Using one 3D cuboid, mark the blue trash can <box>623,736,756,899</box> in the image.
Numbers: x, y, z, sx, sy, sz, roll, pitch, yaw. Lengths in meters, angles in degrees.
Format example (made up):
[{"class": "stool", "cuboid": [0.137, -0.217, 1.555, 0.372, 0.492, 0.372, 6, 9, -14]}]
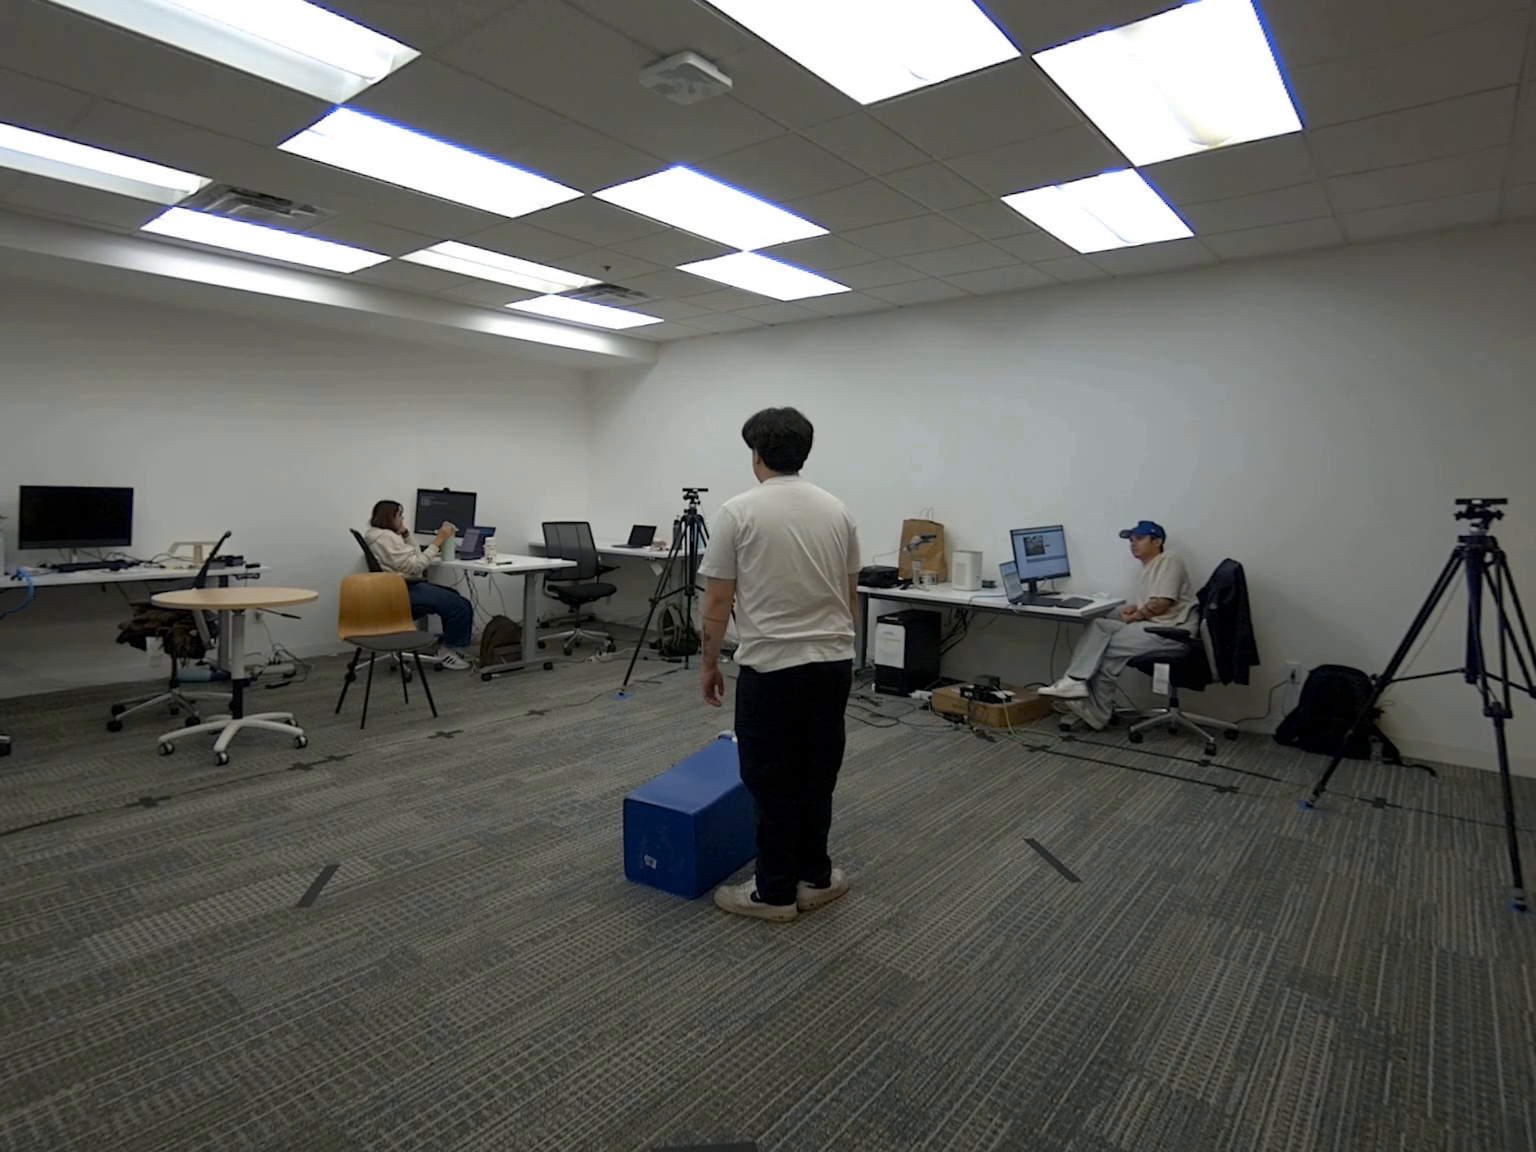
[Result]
[{"class": "blue trash can", "cuboid": [-0.228, 0.893, 3.232, 0.389, 0.371, 0.698, 4, 9, 29]}]
